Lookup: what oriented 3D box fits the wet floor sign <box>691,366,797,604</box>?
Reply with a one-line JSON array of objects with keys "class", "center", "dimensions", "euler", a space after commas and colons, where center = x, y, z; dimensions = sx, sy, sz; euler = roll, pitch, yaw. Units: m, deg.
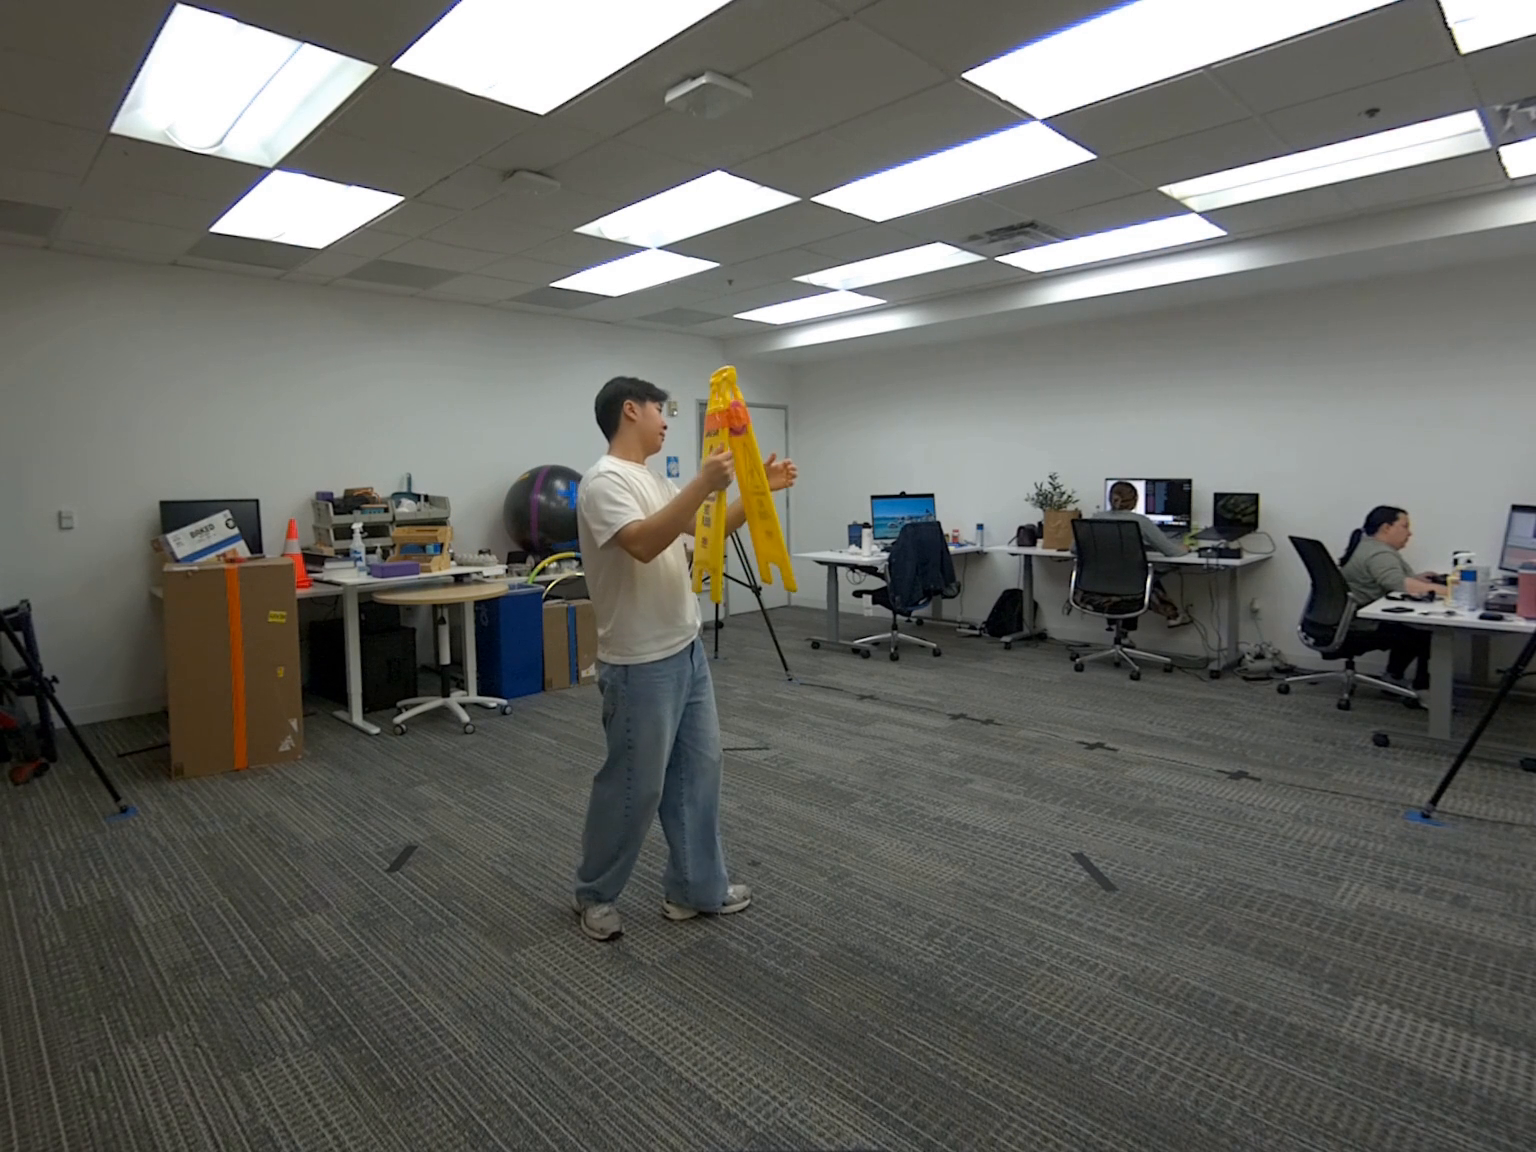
[{"class": "wet floor sign", "center": [-0.100, -0.272, 2.485], "dimensions": [0.286, 0.643, 0.288], "euler": [-6, 6, -17]}]
